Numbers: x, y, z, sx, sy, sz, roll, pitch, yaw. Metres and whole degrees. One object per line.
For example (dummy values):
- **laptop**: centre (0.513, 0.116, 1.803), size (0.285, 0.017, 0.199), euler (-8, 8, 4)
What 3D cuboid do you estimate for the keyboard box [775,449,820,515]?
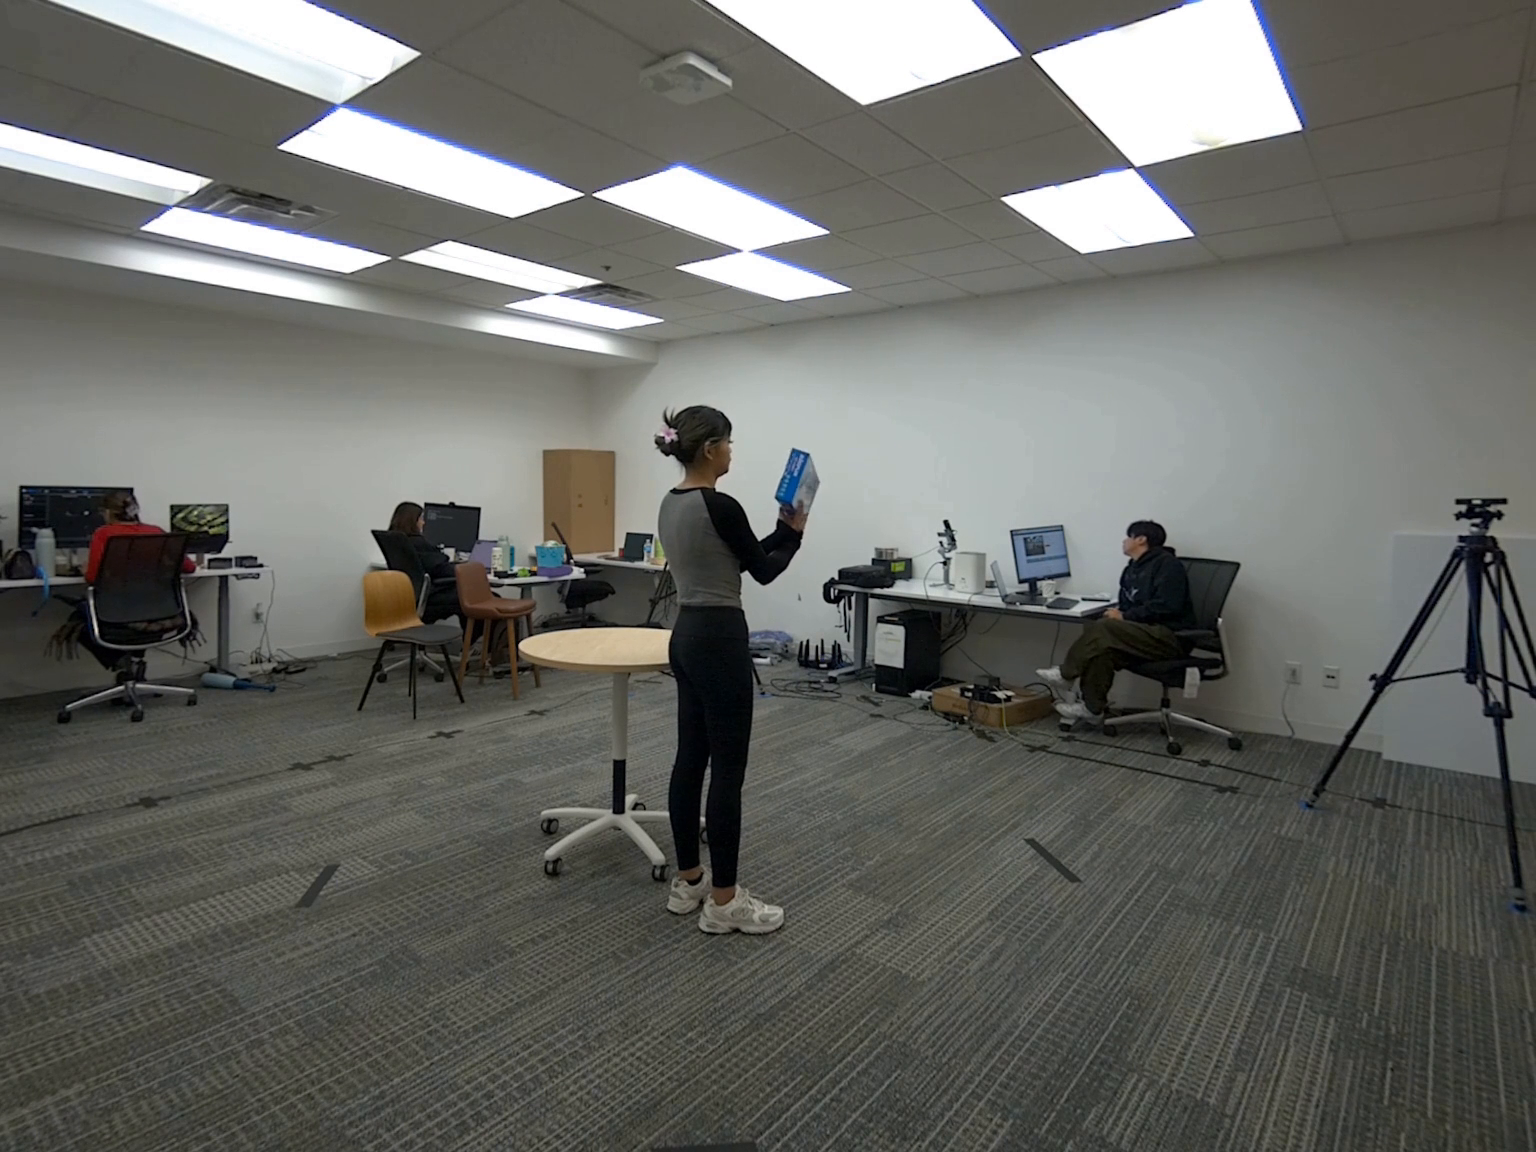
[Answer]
- **keyboard box**: centre (0.096, -0.296, 2.883), size (0.060, 0.176, 0.429), euler (19, -4, 8)
